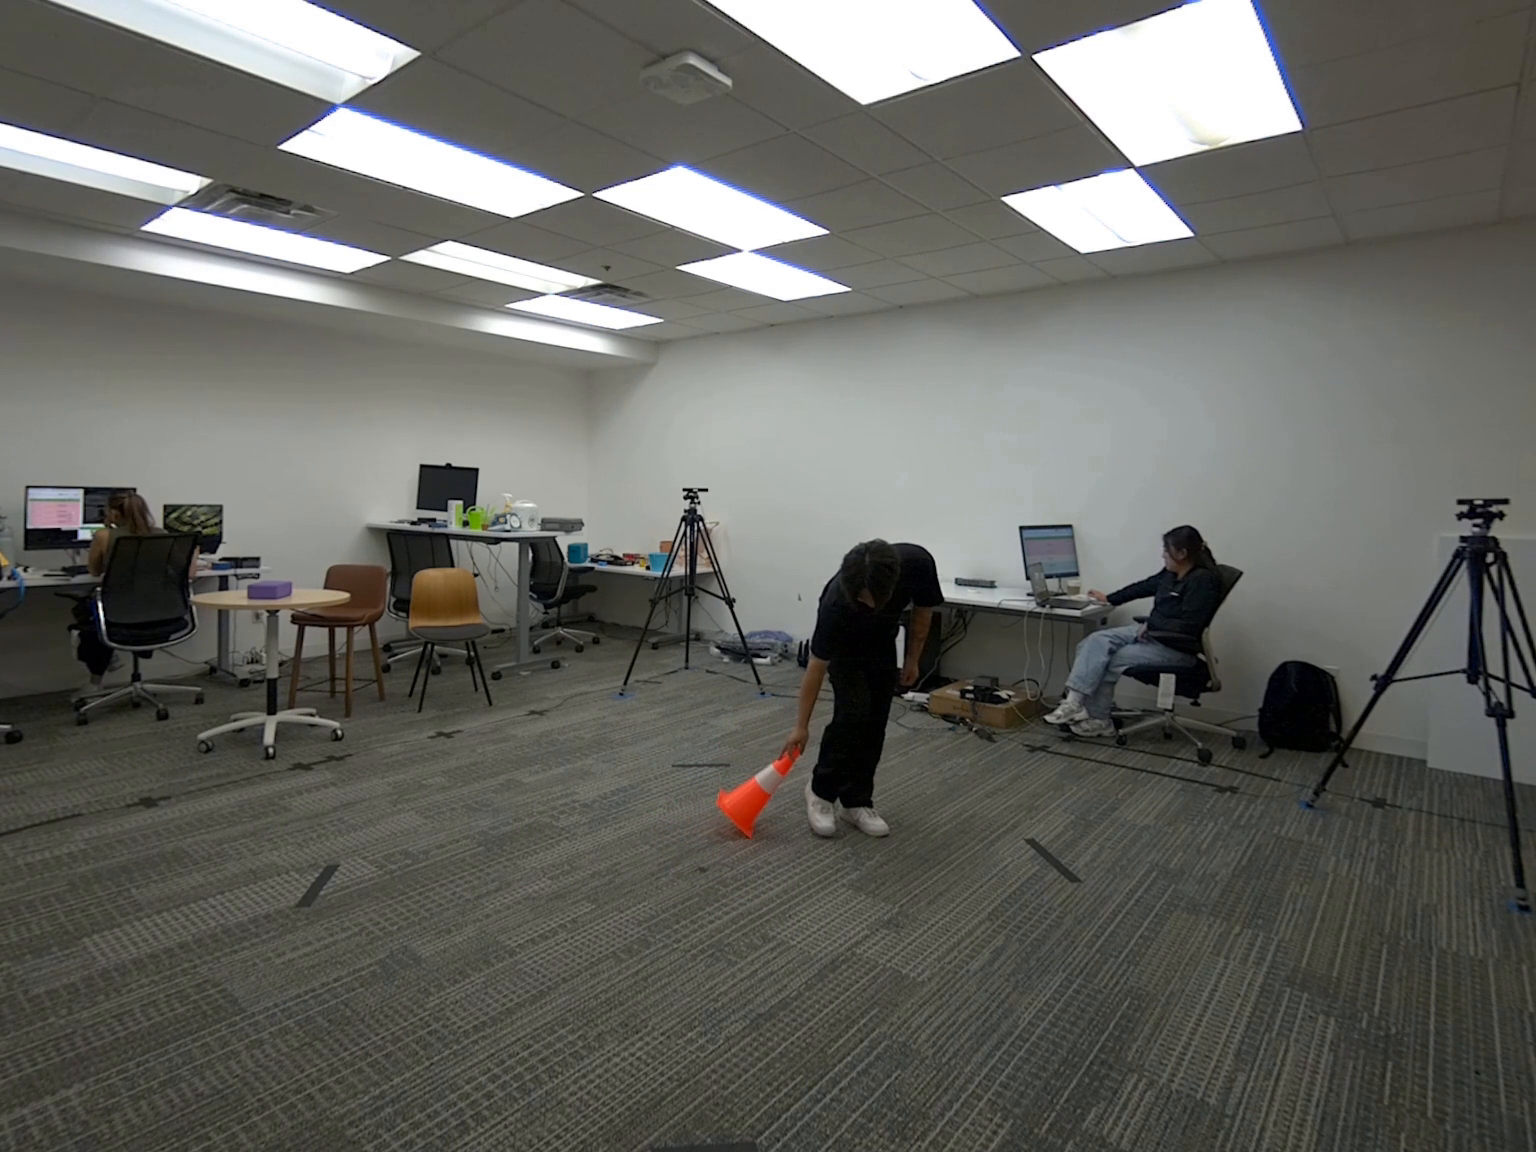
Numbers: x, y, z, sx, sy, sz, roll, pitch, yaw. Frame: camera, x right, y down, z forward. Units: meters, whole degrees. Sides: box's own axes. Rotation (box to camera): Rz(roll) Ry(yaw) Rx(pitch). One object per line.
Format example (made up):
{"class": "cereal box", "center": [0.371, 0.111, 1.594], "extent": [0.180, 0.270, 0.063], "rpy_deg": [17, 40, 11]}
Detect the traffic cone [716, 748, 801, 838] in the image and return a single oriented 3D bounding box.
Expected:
{"class": "traffic cone", "center": [-0.018, 0.834, 3.474], "extent": [0.206, 0.384, 0.203], "rpy_deg": [43, 6, 1]}
